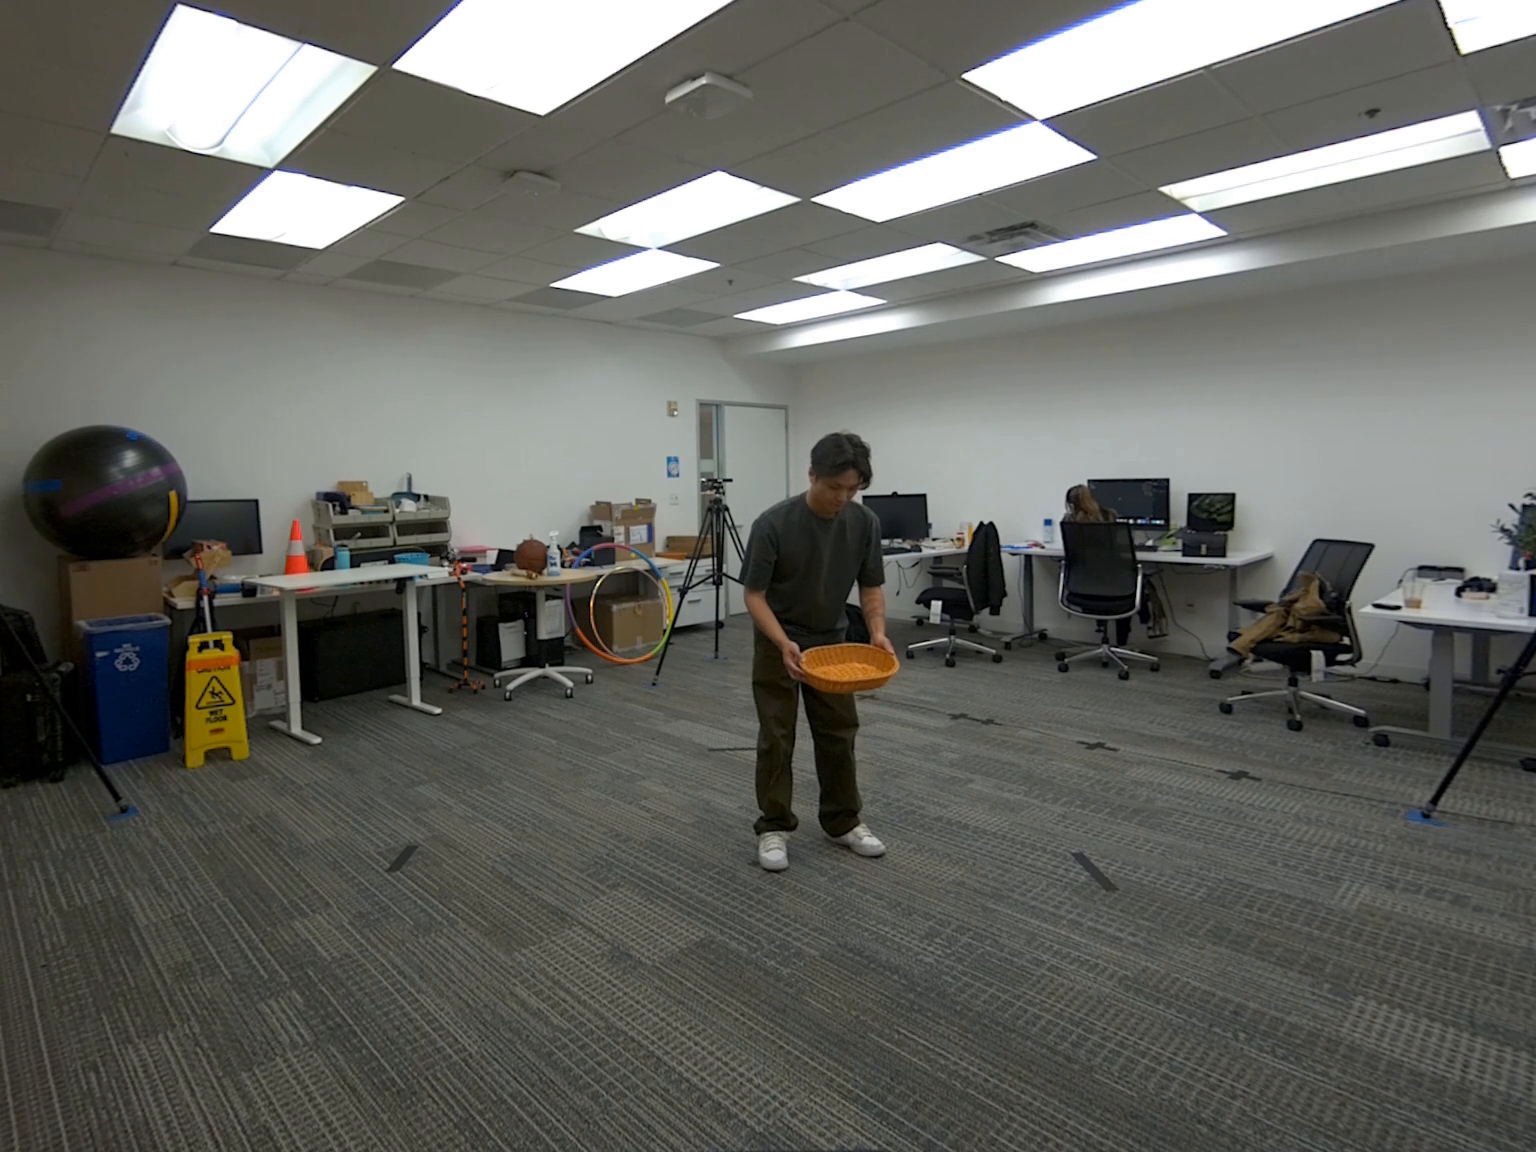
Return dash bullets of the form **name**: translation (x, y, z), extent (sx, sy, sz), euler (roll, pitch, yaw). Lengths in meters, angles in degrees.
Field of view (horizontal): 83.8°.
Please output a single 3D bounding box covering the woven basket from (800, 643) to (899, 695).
- **woven basket**: translation (0.270, 0.316, 2.864), extent (0.345, 0.072, 0.260), euler (-3, 20, -17)
